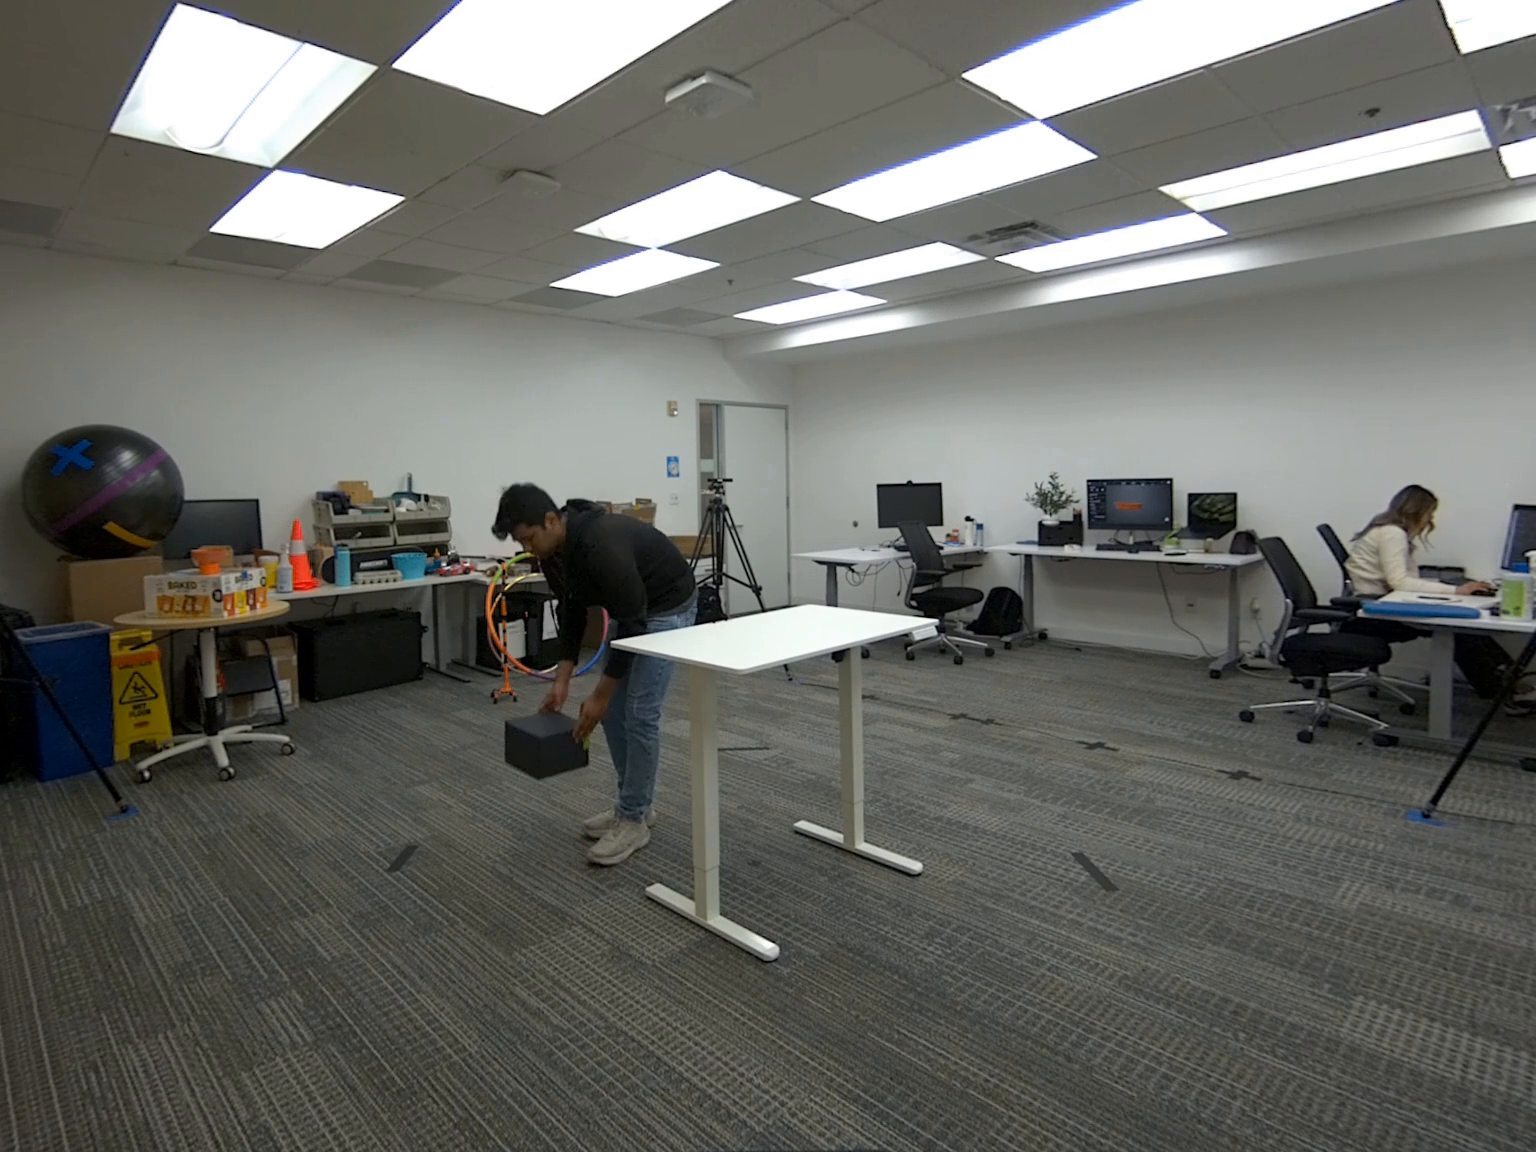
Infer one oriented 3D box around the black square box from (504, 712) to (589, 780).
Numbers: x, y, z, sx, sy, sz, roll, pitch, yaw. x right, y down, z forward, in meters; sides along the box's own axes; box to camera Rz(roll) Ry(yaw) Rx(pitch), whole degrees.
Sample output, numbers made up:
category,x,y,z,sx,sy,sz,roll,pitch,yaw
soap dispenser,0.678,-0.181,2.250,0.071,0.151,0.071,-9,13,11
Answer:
category,x,y,z,sx,sy,sz,roll,pitch,yaw
black square box,-0.789,0.604,3.090,0.235,0.155,0.211,9,10,43
